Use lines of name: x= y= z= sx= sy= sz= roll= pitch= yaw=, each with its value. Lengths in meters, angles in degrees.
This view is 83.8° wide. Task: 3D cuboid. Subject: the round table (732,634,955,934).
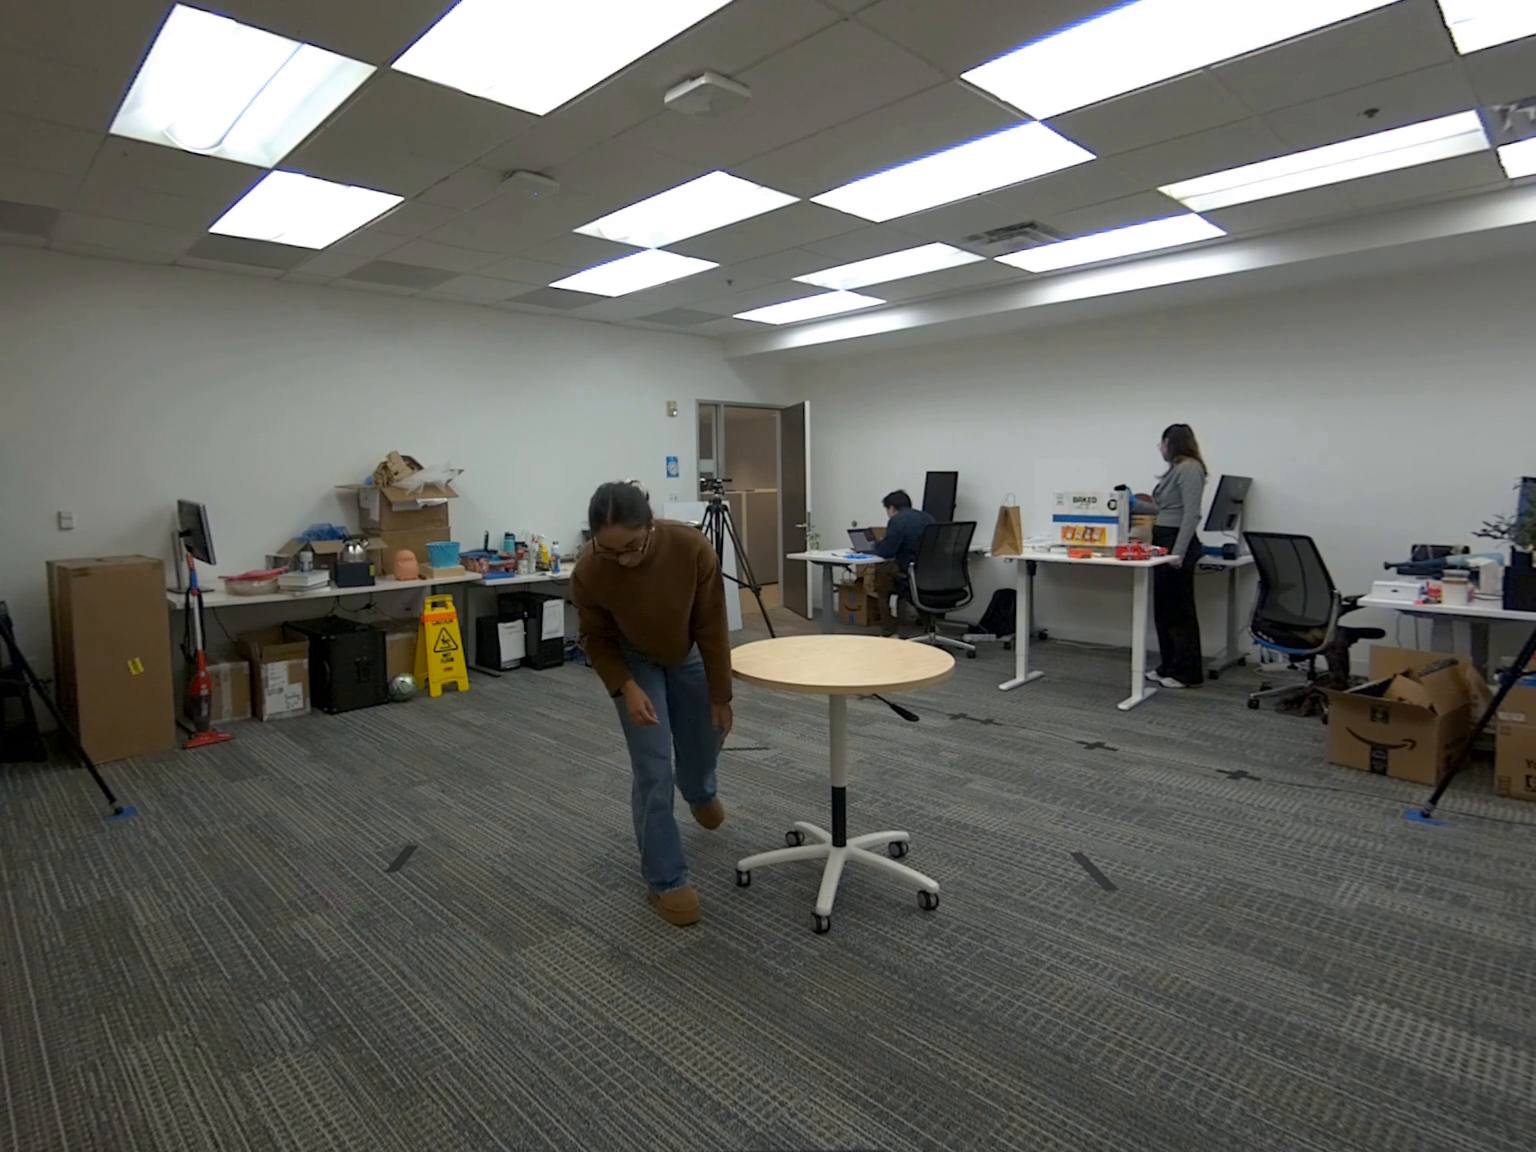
round table: x=0.244 y=0.670 z=2.905 sx=0.763 sy=0.791 sz=0.768 roll=-1 pitch=5 yaw=-2
